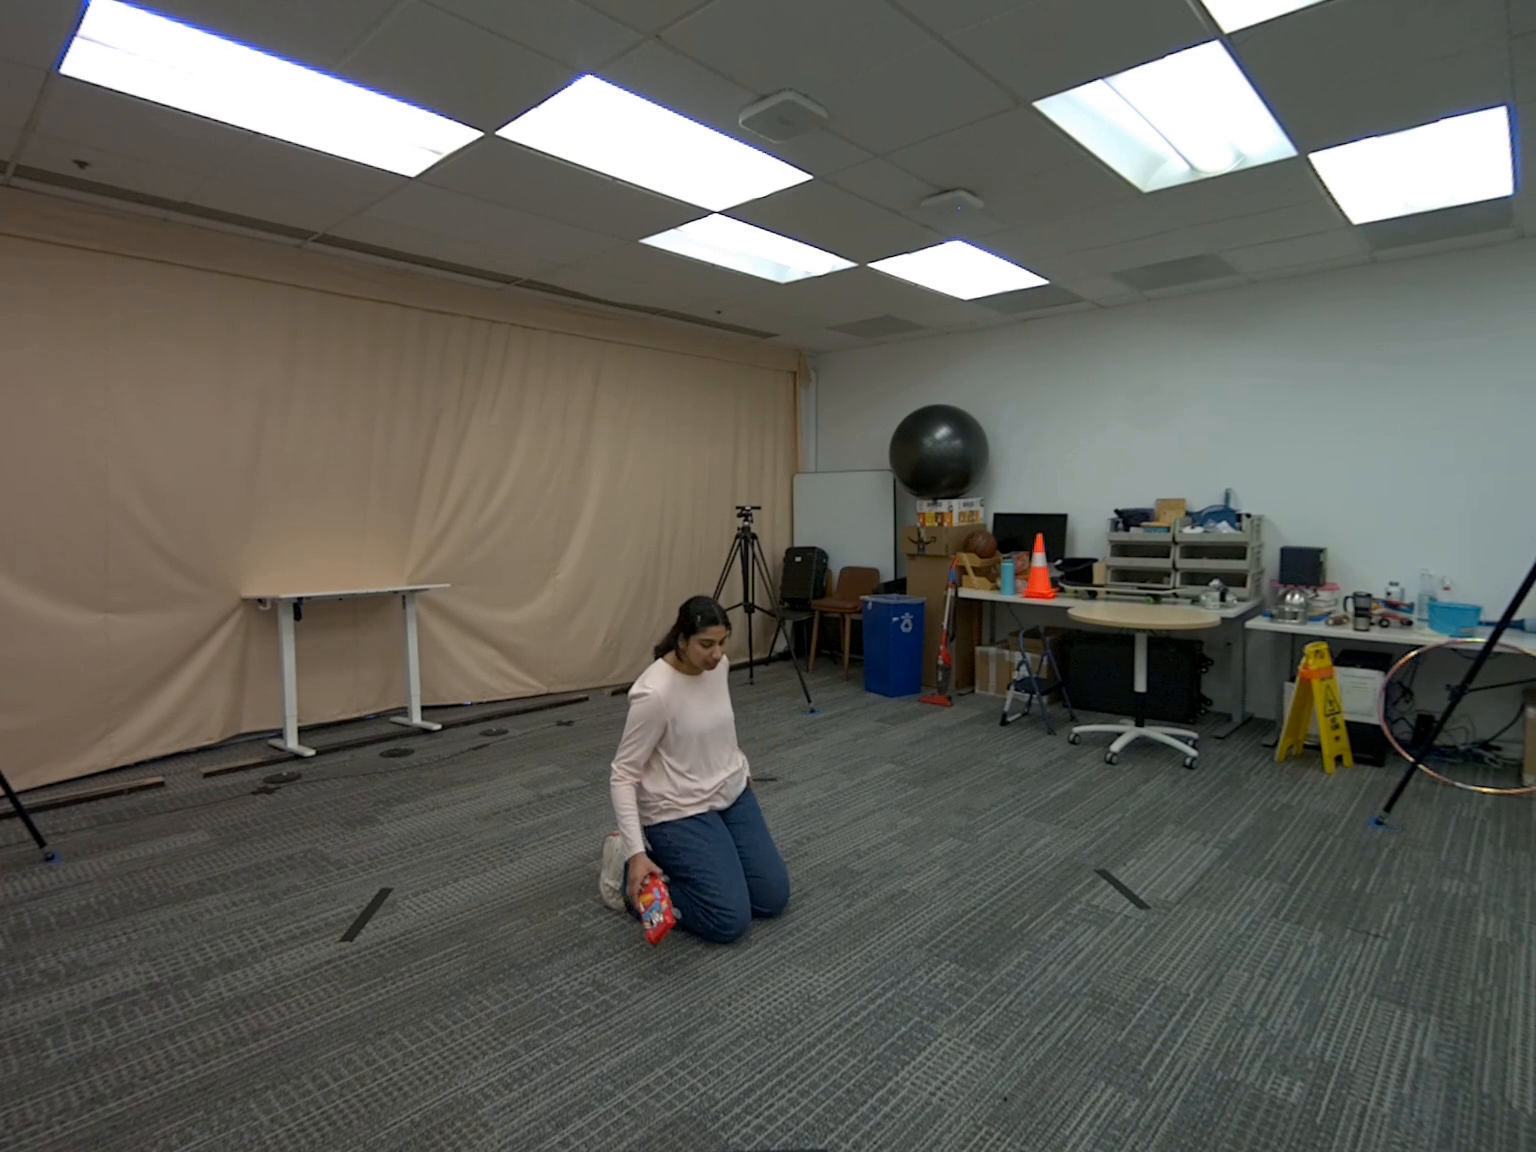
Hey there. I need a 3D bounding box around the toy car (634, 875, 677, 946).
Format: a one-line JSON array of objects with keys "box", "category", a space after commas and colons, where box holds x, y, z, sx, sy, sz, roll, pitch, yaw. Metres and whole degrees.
[{"box": [-0.332, 0.990, 2.556, 0.080, 0.130, 0.263, 39, 5, -37], "category": "toy car"}]
